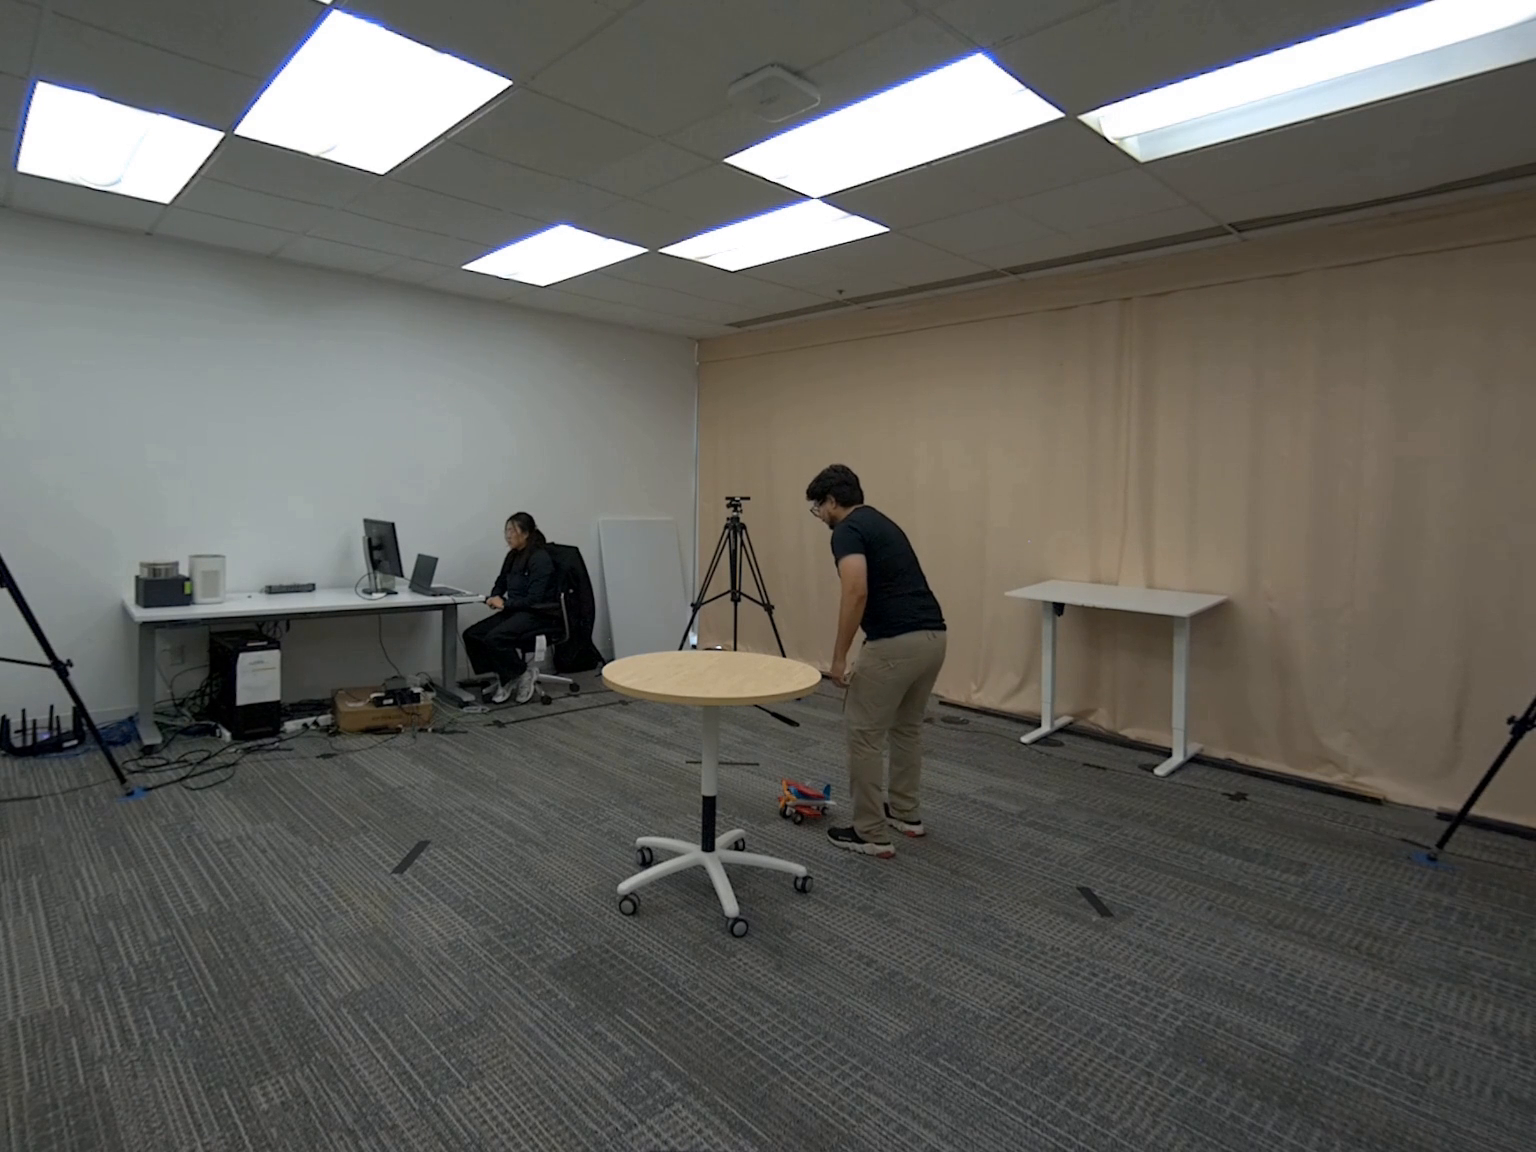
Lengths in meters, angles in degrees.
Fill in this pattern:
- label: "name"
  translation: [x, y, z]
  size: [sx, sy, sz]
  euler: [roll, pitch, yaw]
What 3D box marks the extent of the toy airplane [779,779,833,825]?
- label: "toy airplane"
  translation: [0.148, 0.985, 3.719]
  size: [0.256, 0.156, 0.255]
  euler: [3, 7, 26]
